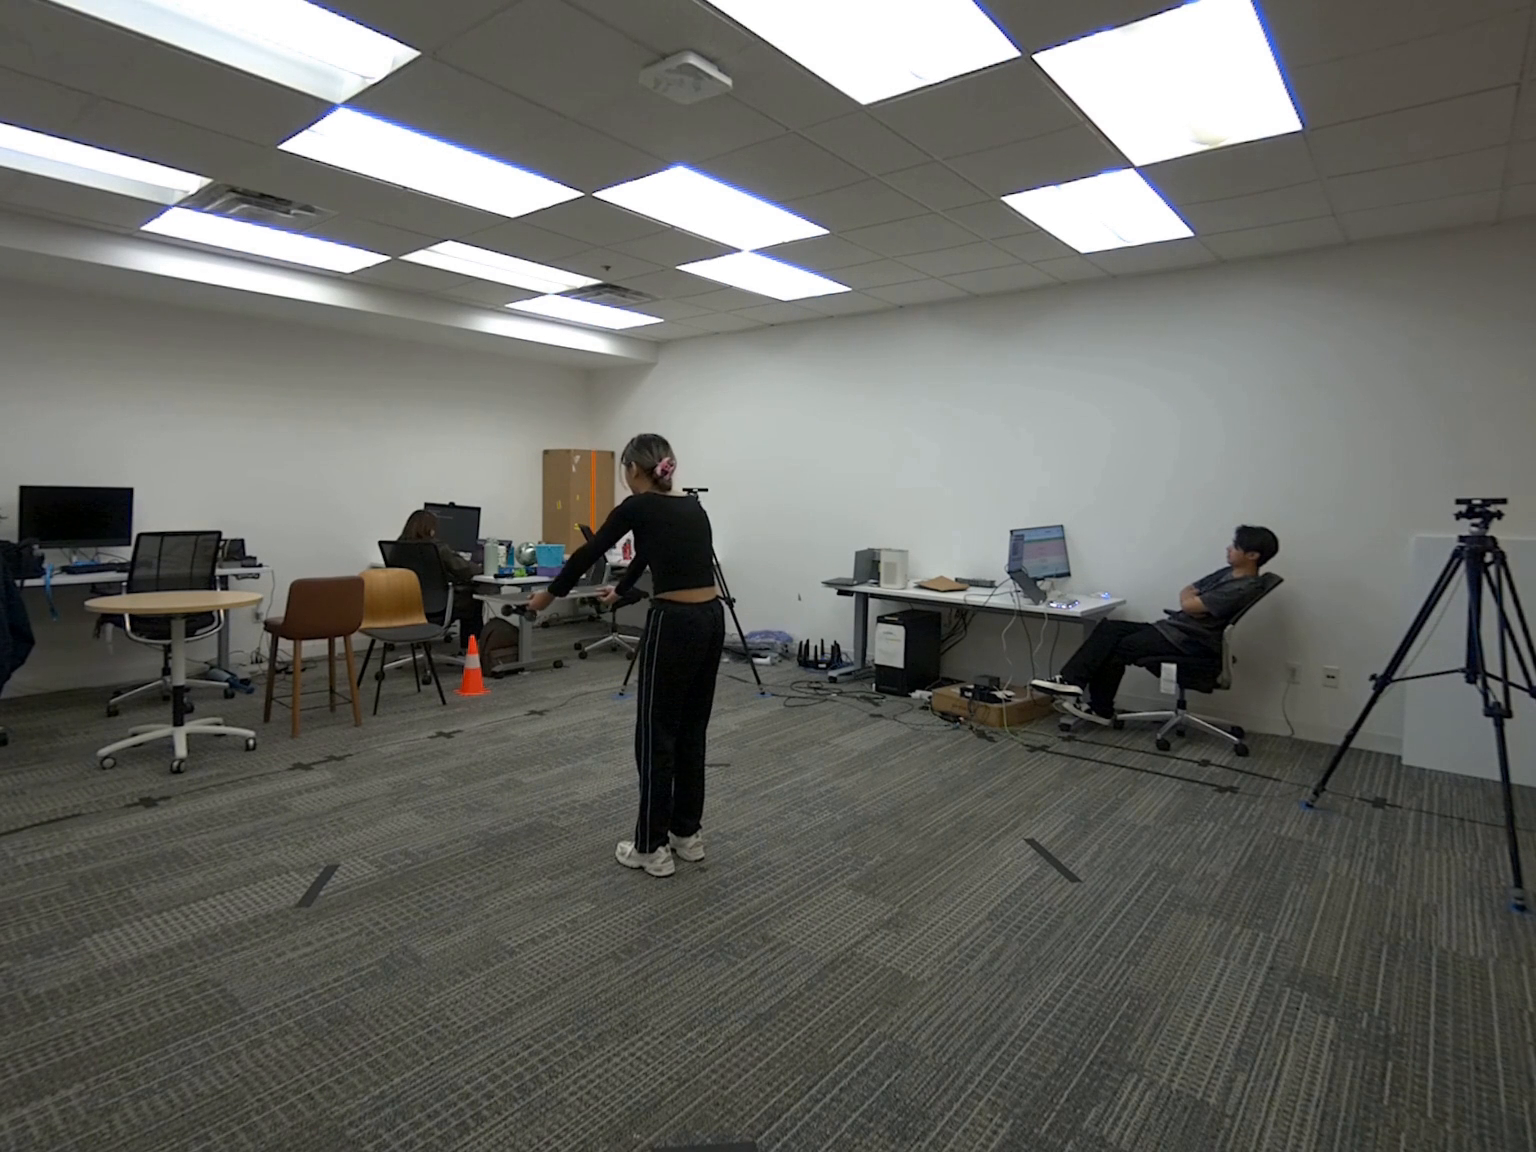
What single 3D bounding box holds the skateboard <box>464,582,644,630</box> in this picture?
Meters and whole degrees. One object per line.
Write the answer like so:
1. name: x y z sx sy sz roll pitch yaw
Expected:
1. skateboard: -0.880 0.114 3.544 0.200 0.110 0.762 4 6 39
